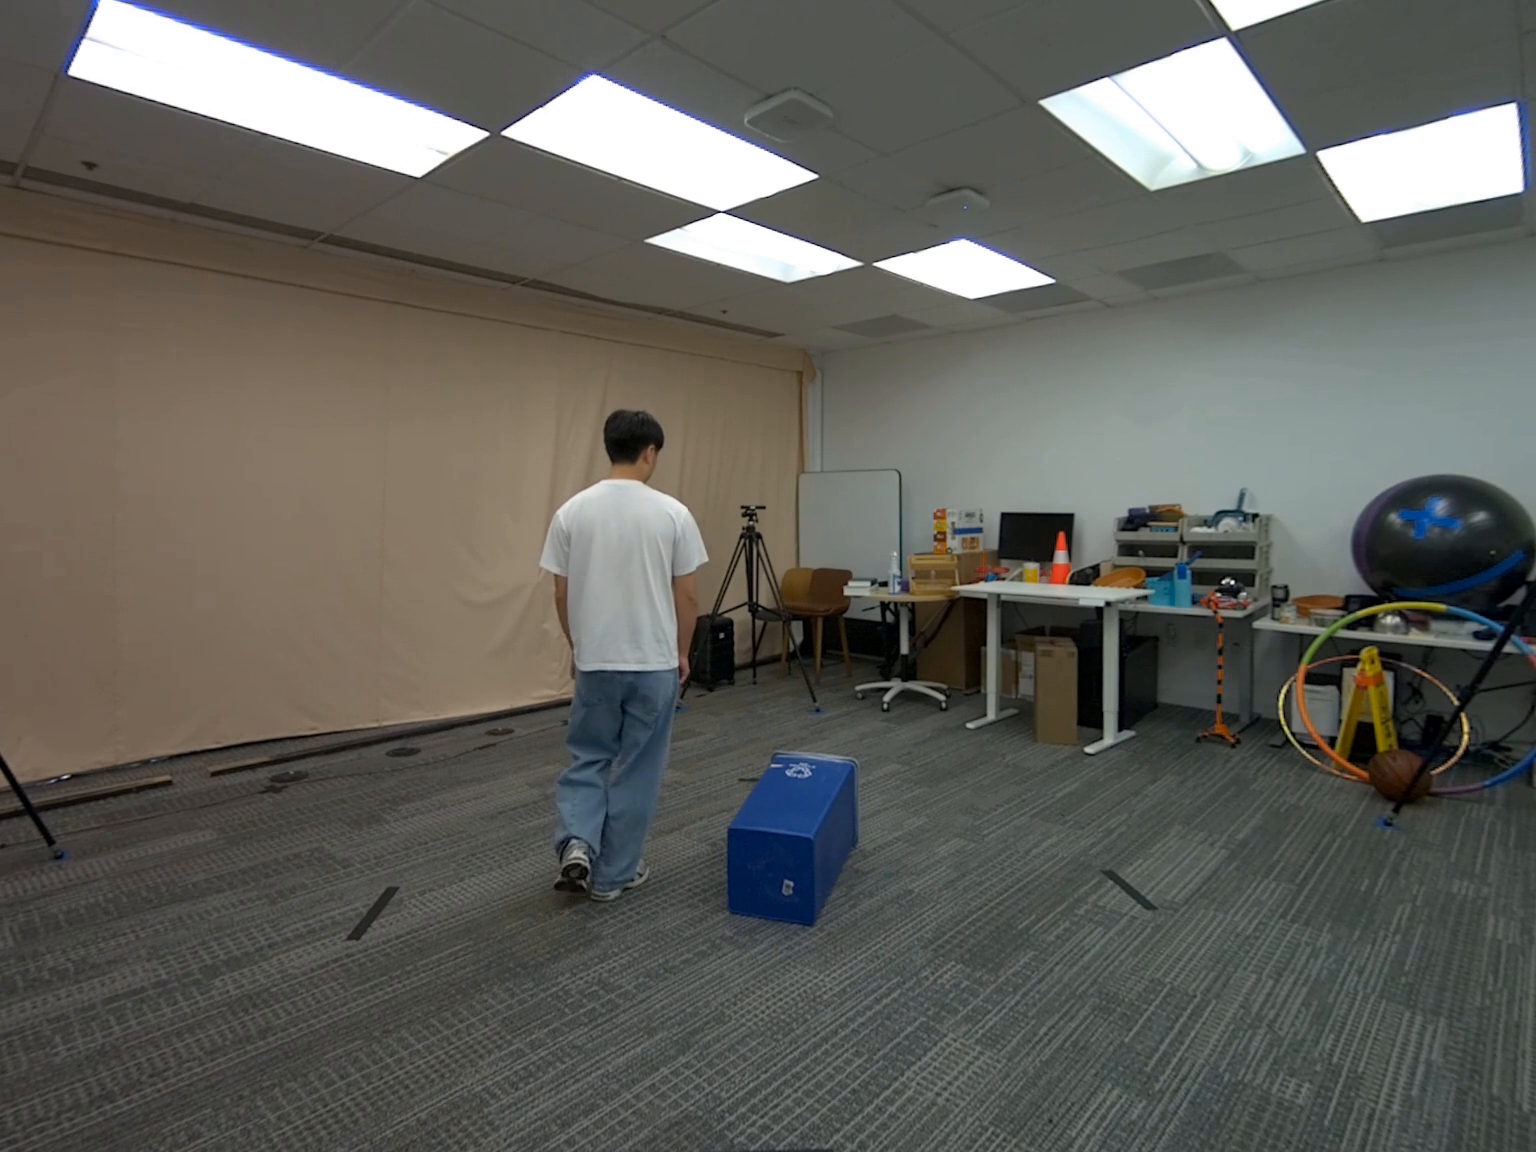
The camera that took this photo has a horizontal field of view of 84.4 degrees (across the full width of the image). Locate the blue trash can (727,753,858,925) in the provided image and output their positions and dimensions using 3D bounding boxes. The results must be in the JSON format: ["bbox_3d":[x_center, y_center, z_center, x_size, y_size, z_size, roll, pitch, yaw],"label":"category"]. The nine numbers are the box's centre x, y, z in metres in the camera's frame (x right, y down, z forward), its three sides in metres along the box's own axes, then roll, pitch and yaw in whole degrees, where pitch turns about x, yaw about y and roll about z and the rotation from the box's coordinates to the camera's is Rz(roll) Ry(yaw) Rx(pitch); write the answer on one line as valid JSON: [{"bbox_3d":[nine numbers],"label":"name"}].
[{"bbox_3d":[0.108,0.959,3.145,0.381,0.376,0.703,1,7,16],"label":"blue trash can"}]
